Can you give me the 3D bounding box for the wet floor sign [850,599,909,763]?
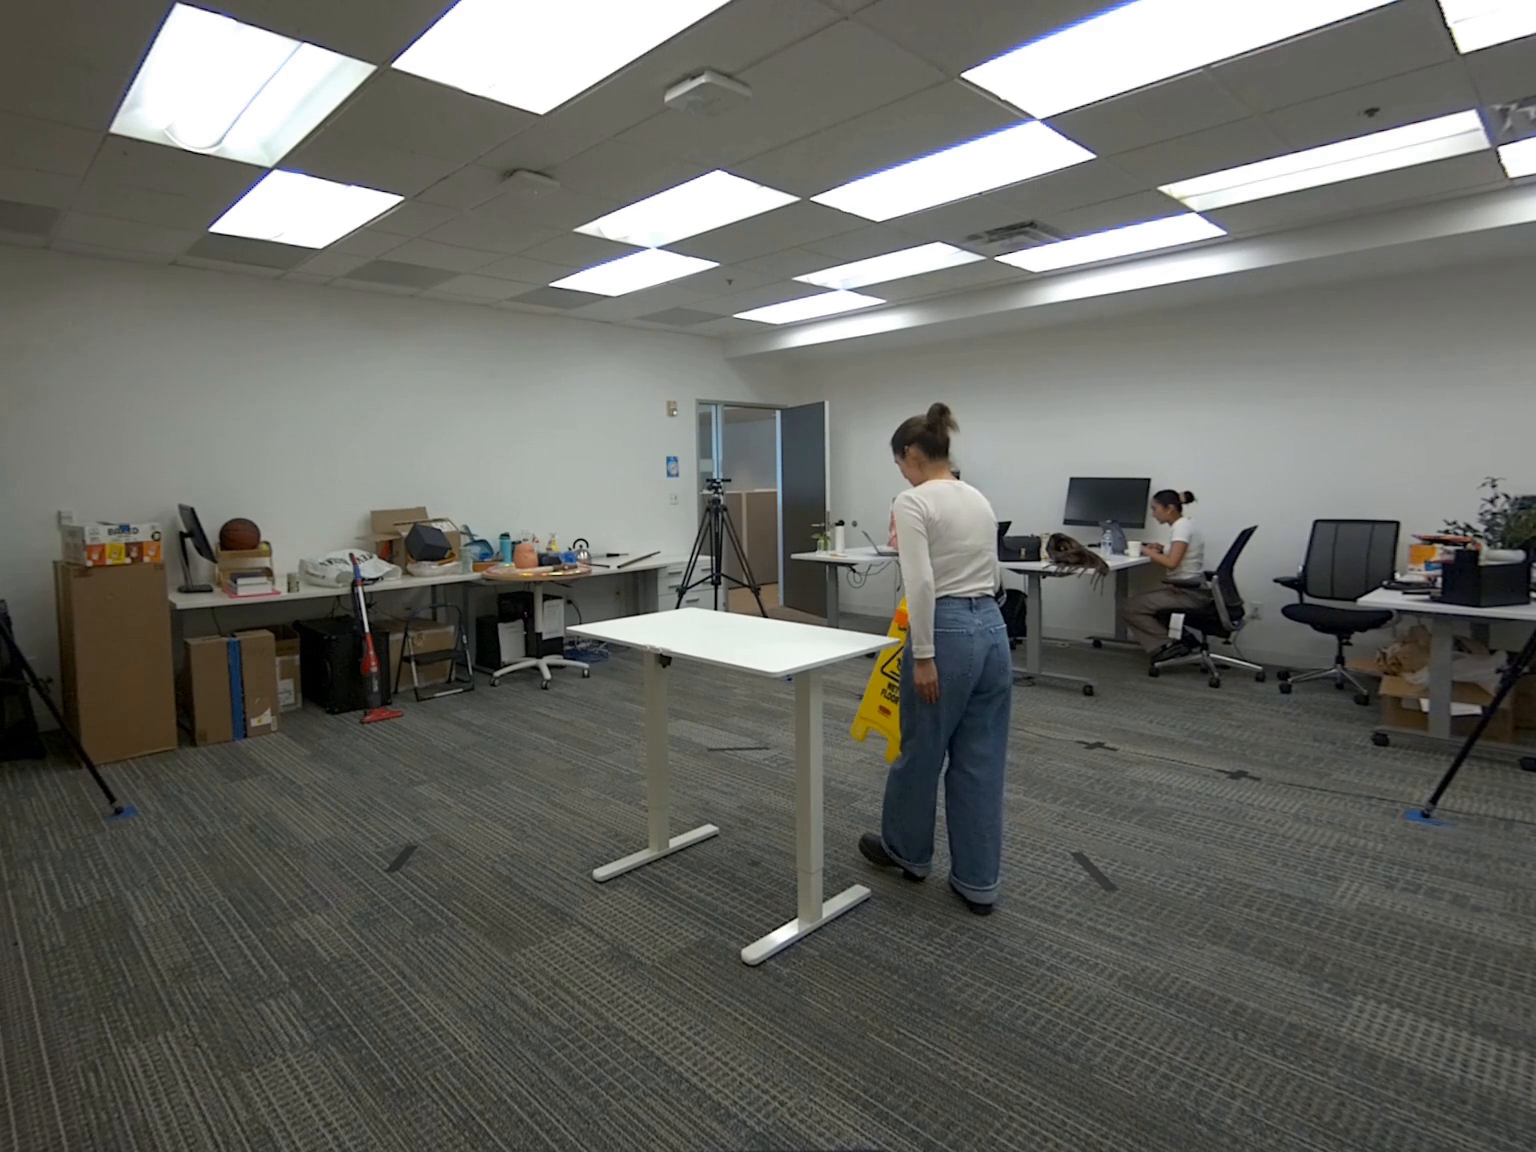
[{"bbox_3d":[0.561,0.353,3.261,0.282,0.640,0.292,1,14,-34],"label":"wet floor sign"}]
